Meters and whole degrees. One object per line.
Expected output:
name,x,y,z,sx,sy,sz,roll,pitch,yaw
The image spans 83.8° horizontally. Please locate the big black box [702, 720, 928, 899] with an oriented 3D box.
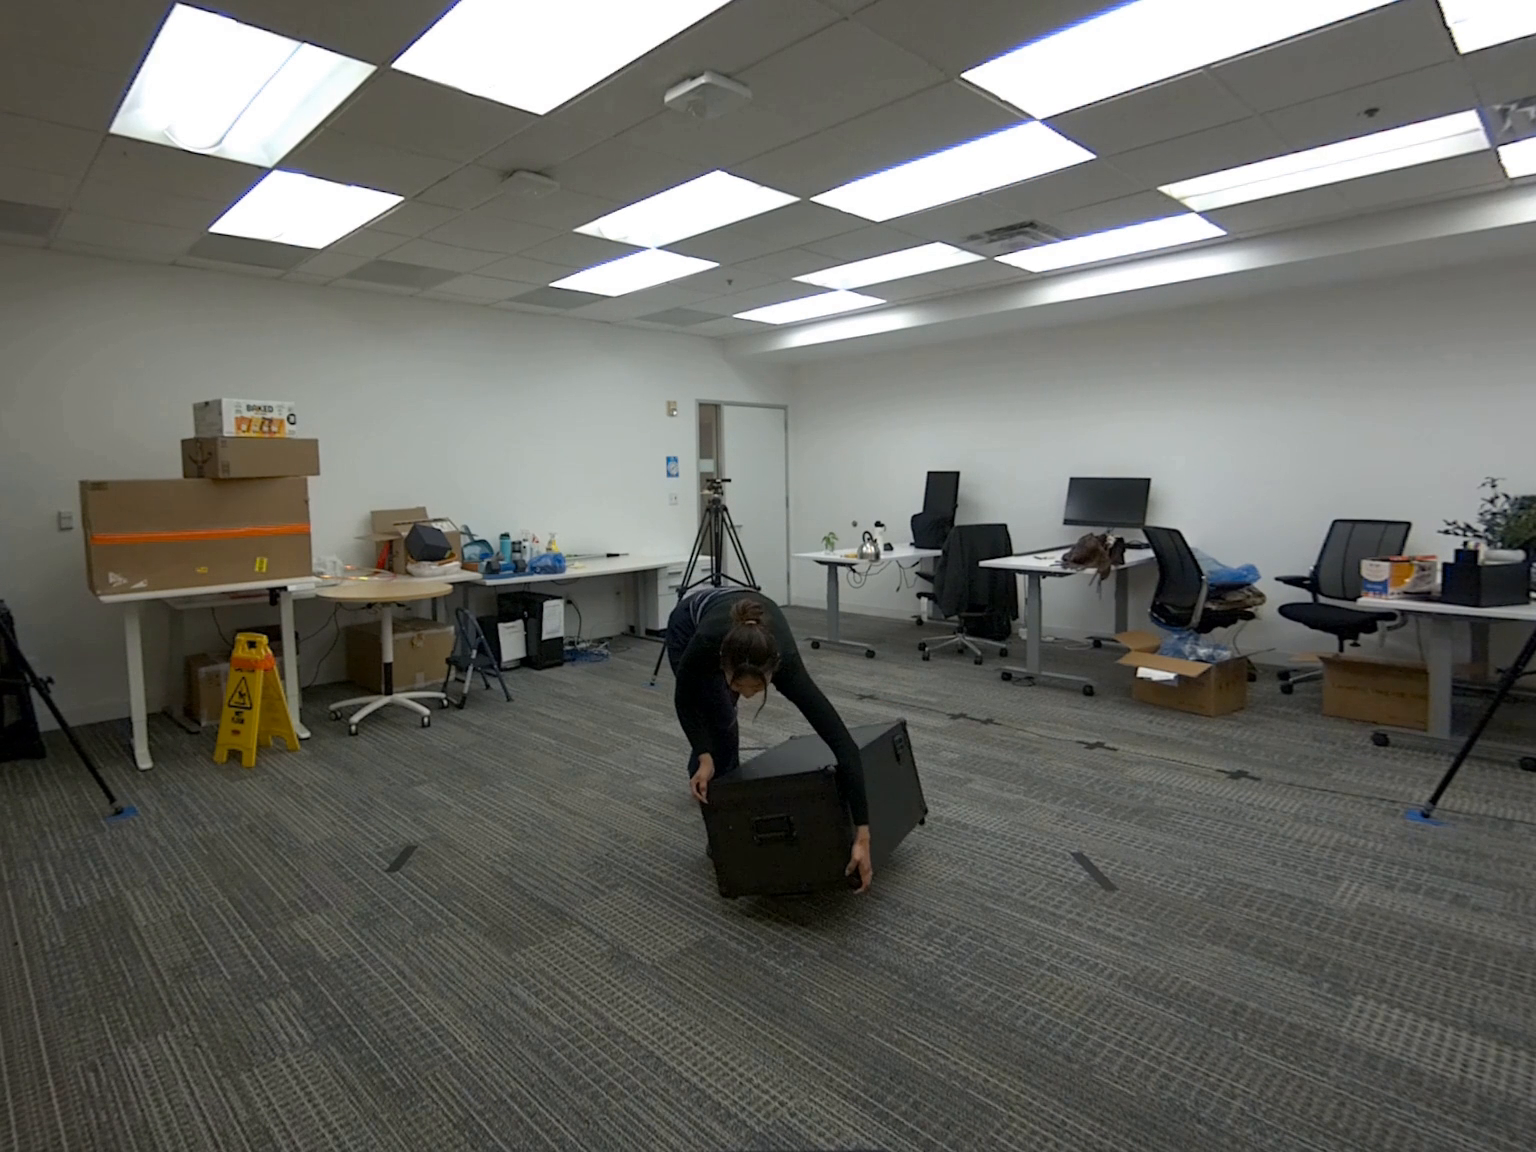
big black box,0.207,0.795,3.005,0.529,0.399,0.843,-16,-4,25
